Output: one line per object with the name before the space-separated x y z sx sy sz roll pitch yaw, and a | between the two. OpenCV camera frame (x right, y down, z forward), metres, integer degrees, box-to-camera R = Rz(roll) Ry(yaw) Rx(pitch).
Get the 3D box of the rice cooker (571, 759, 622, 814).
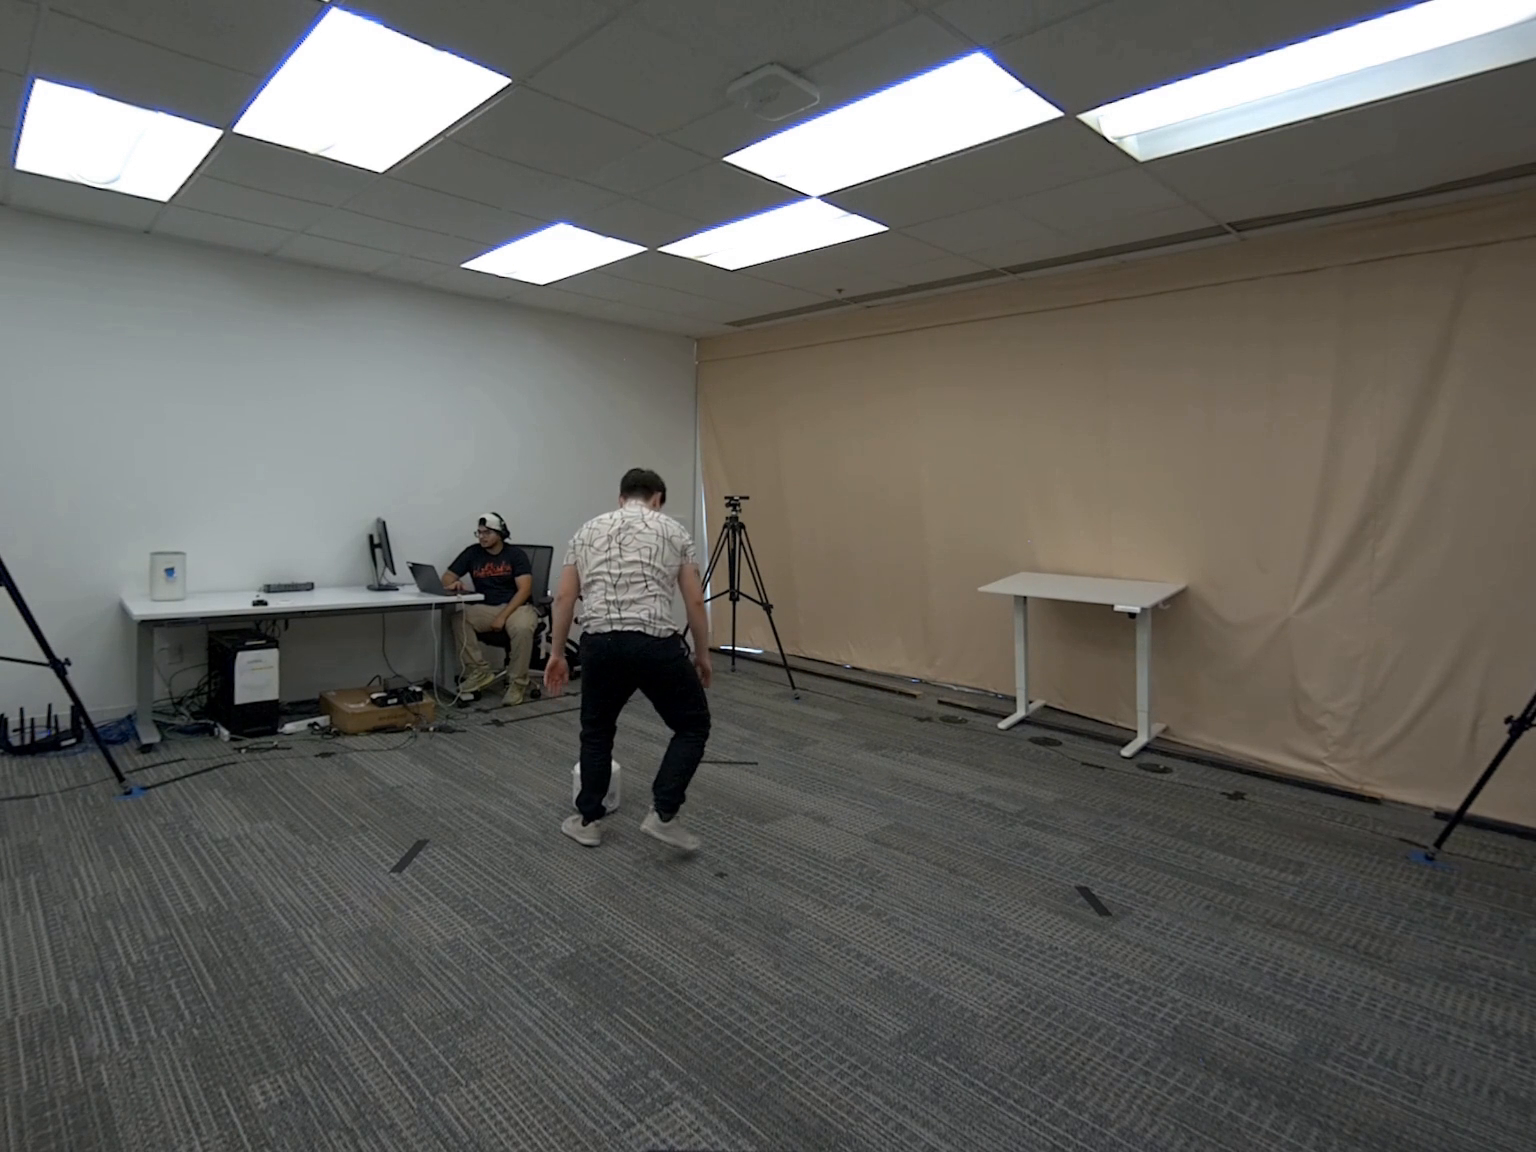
rice cooker | -0.765 0.920 3.734 0.223 0.232 0.215 4 4 44
